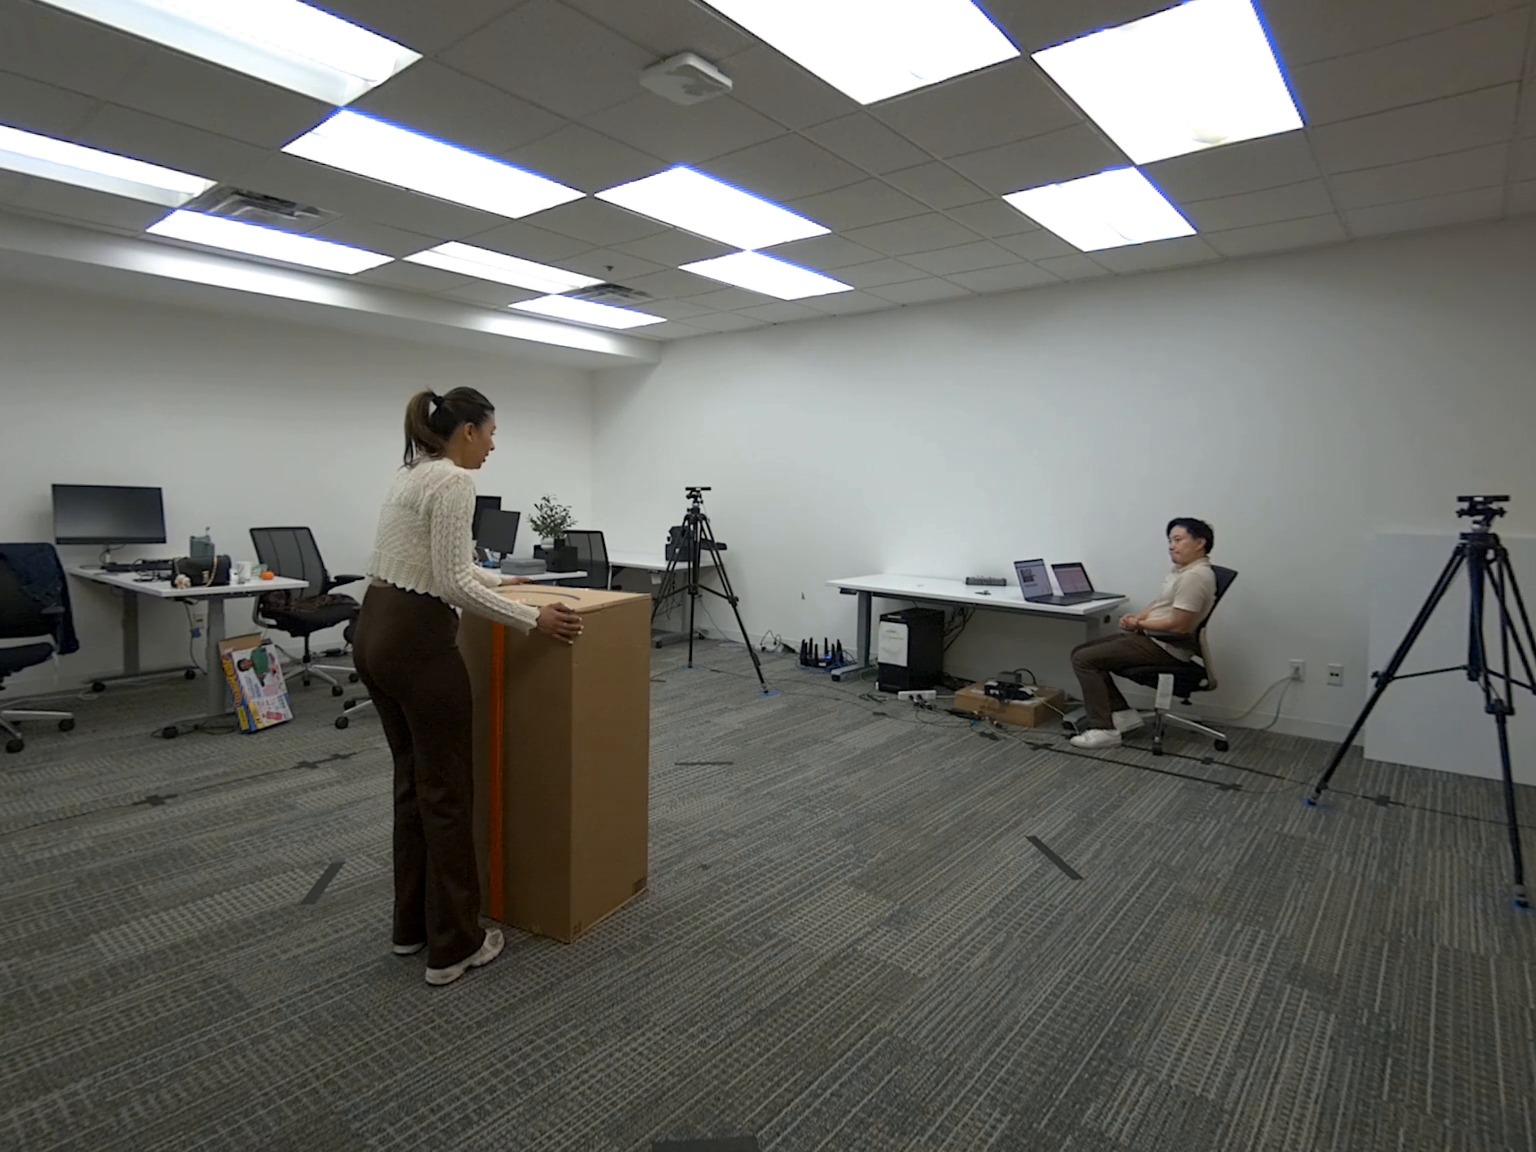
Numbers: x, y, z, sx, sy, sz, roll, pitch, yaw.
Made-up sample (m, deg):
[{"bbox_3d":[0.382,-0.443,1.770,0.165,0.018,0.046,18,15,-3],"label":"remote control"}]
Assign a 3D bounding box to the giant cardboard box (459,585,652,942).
[{"bbox_3d":[-0.759,0.572,2.867,0.594,1.023,0.415,3,4,29],"label":"giant cardboard box"}]
